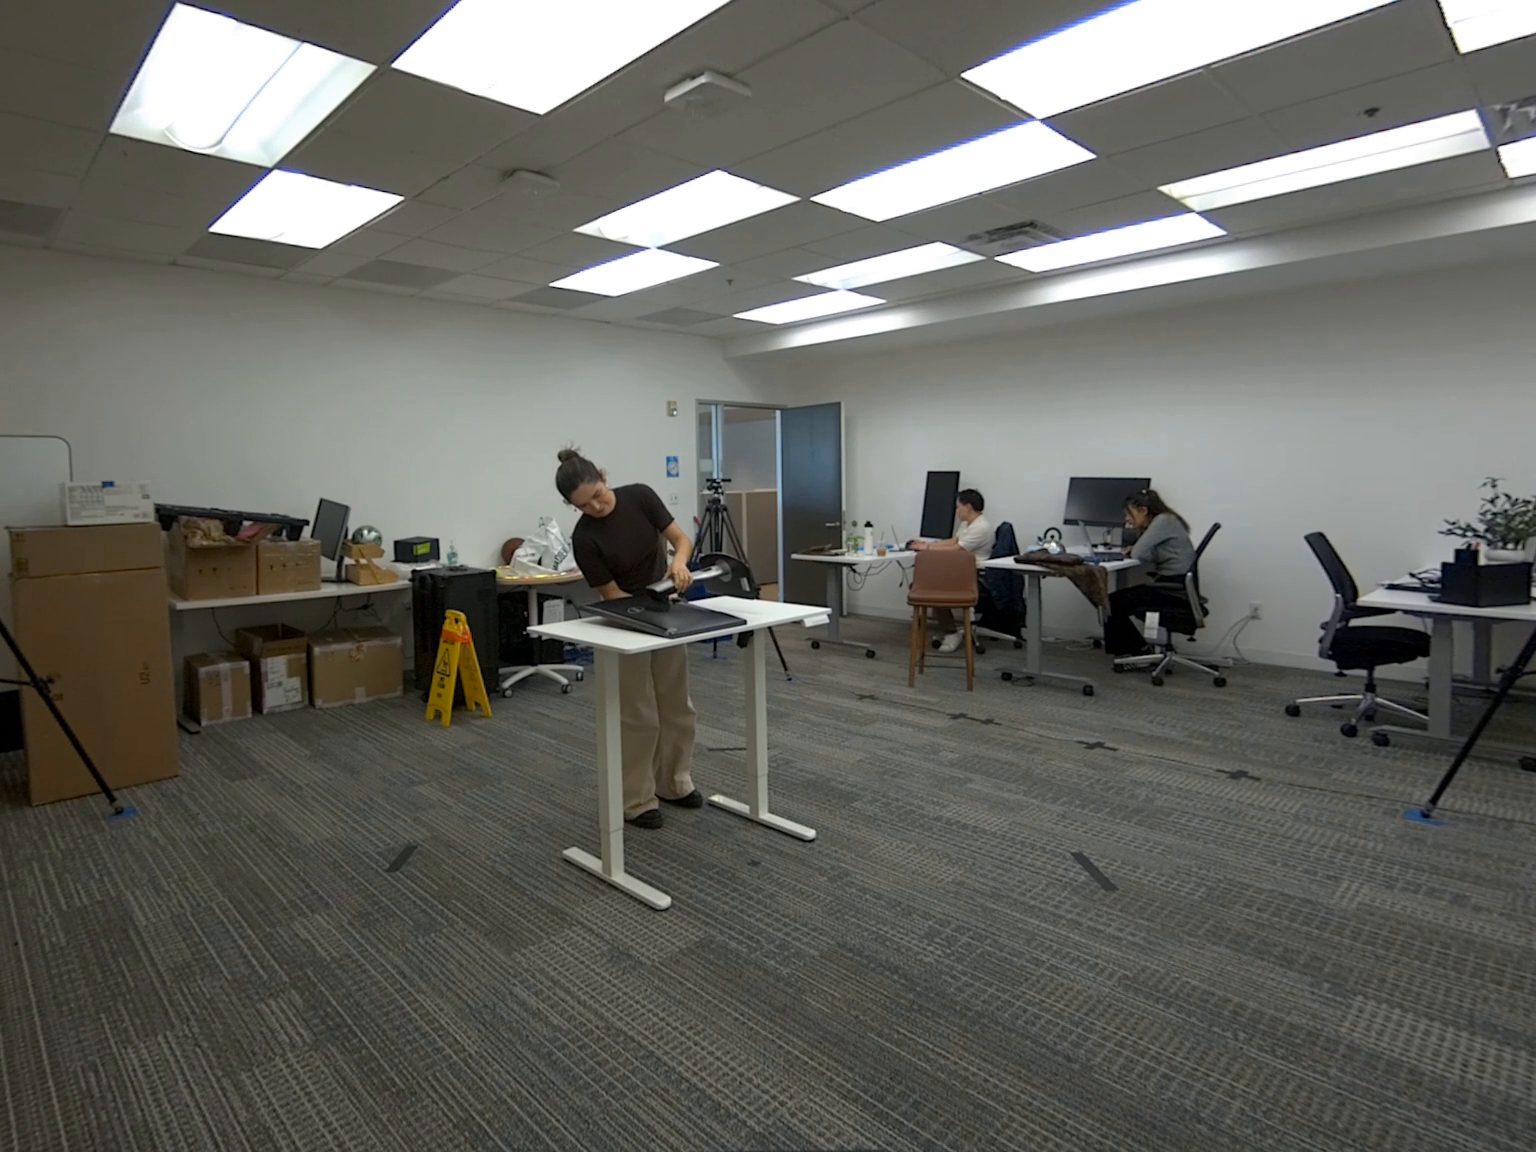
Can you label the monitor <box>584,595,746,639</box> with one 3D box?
[{"bbox_3d":[-0.319,0.085,3.126,0.556,0.184,0.515,8,26,45],"label":"monitor"}]
